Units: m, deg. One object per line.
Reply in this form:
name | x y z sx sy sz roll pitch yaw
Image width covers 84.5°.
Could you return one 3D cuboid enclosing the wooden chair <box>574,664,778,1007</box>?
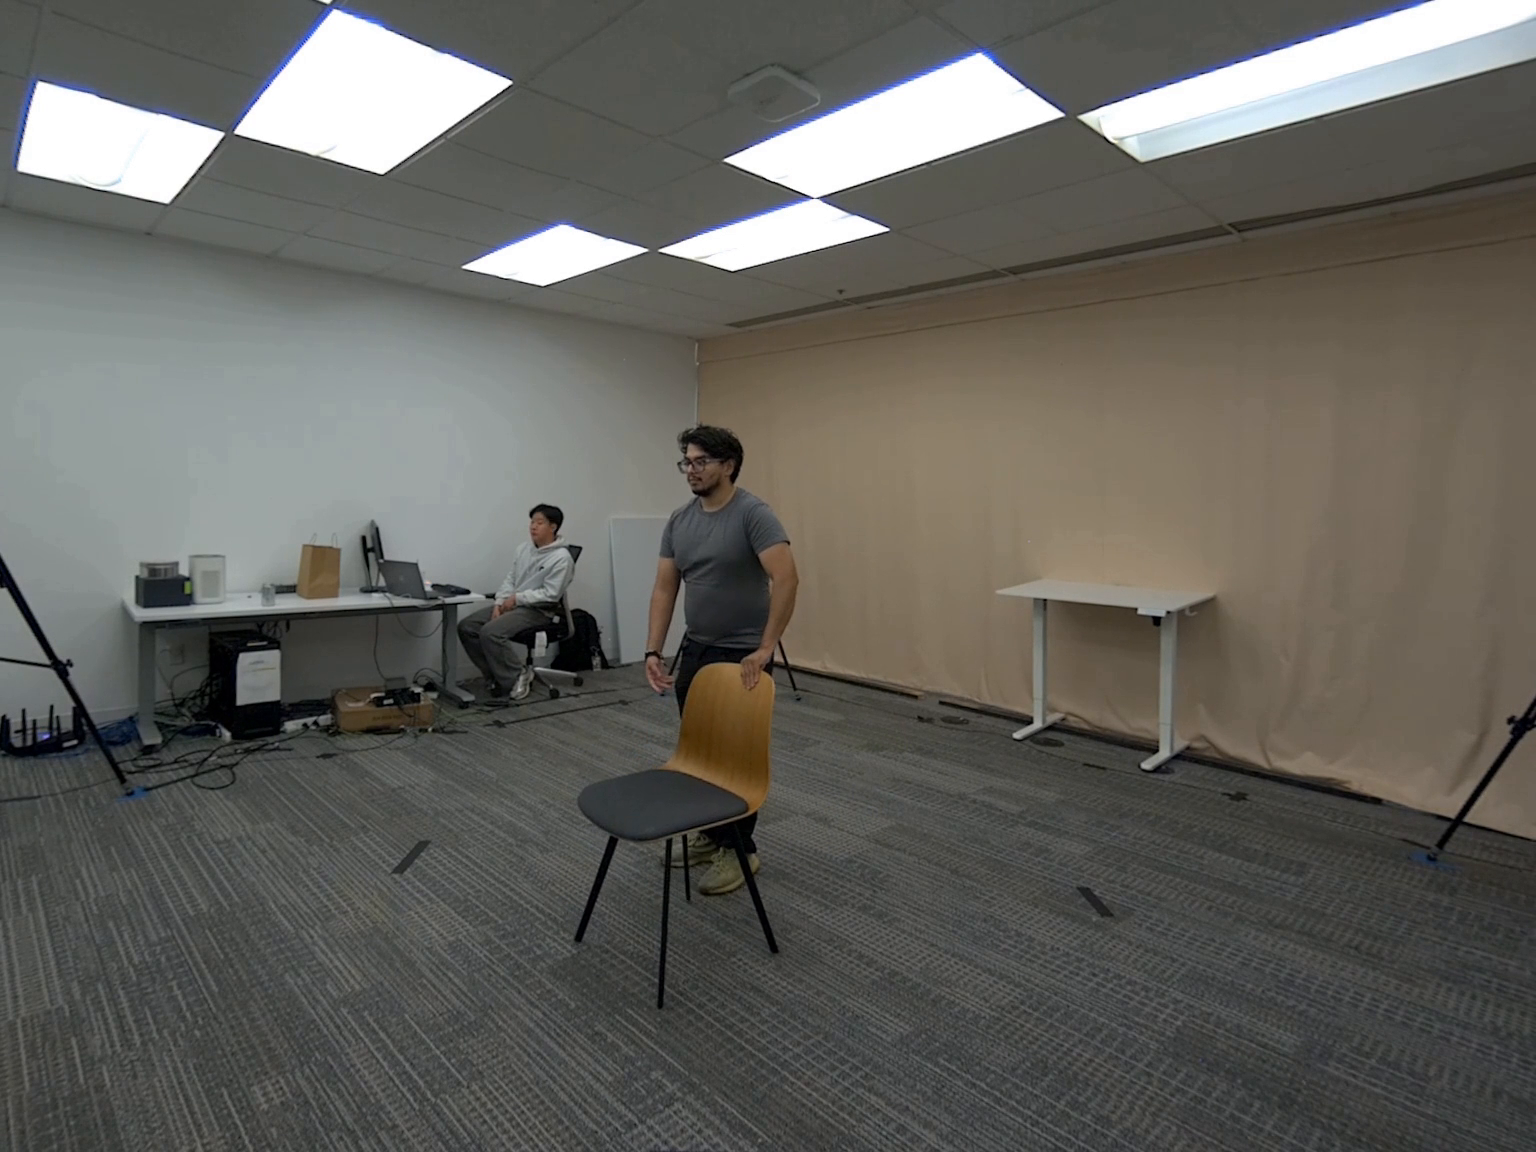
wooden chair | -0.278 0.728 2.558 0.510 0.877 0.490 4 1 -42
